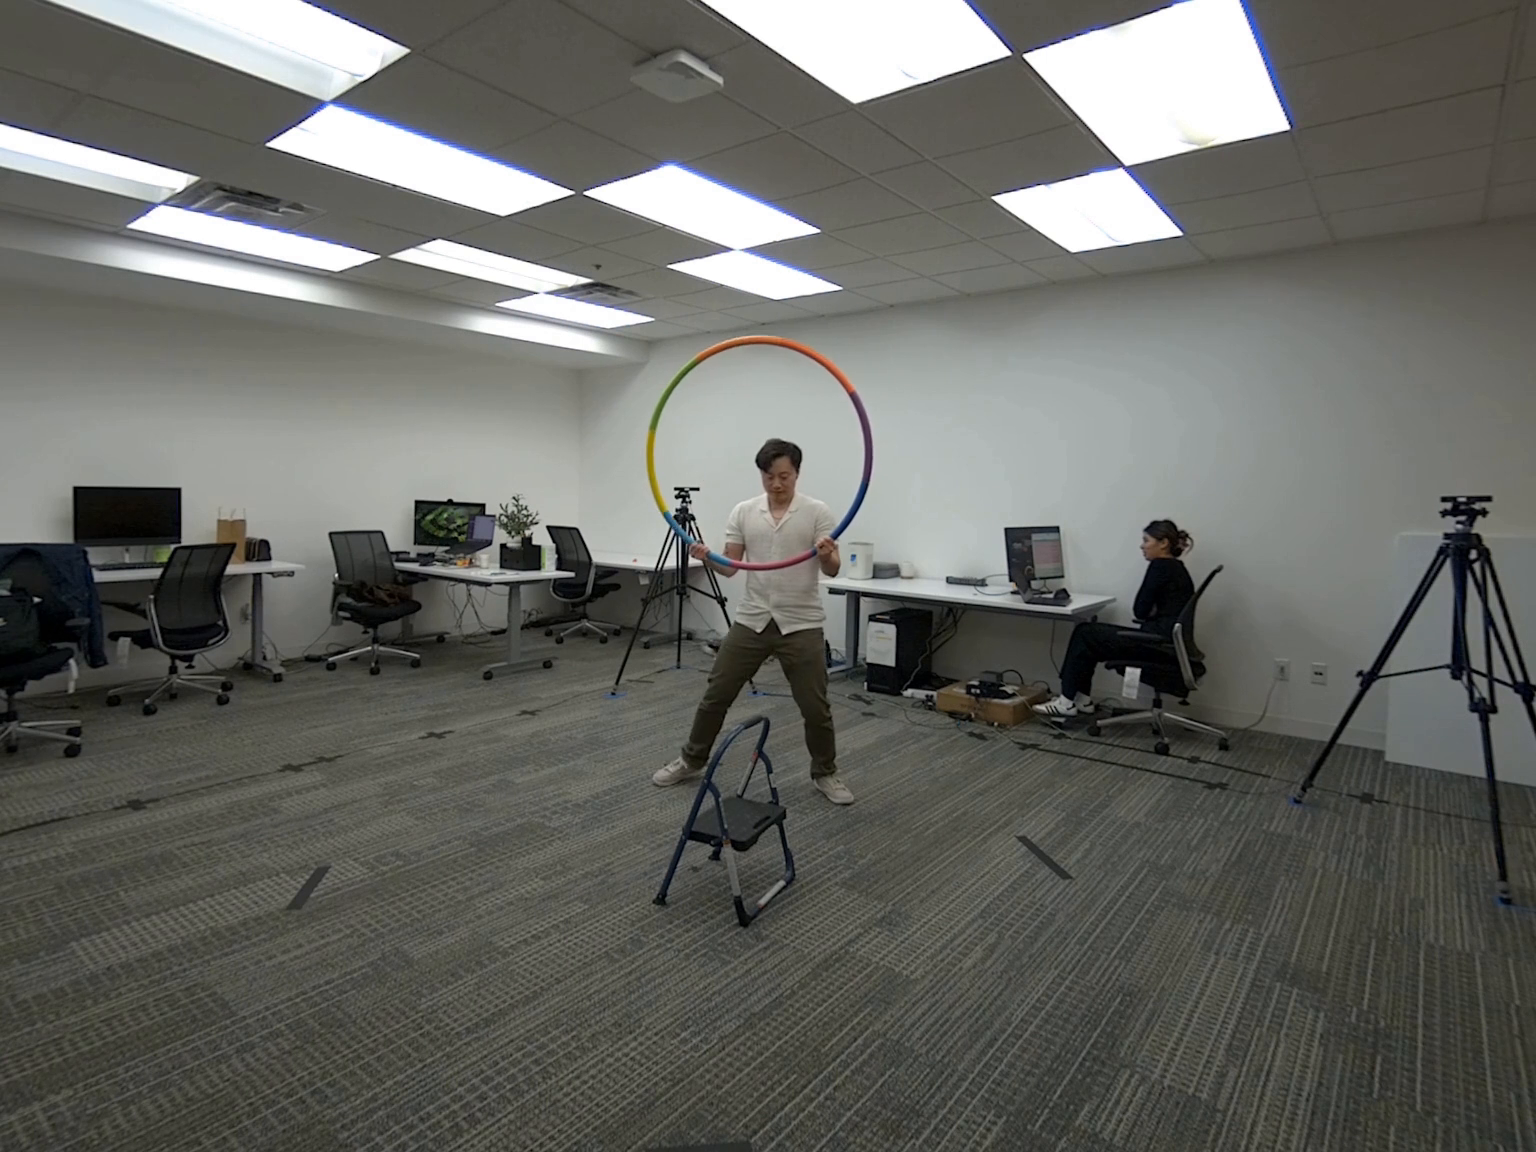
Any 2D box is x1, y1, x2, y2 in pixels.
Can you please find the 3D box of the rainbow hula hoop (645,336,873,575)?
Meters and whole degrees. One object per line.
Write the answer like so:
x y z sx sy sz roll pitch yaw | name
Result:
-0.071 -0.513 3.598 0.997 0.973 0.035 2 6 17 | rainbow hula hoop
